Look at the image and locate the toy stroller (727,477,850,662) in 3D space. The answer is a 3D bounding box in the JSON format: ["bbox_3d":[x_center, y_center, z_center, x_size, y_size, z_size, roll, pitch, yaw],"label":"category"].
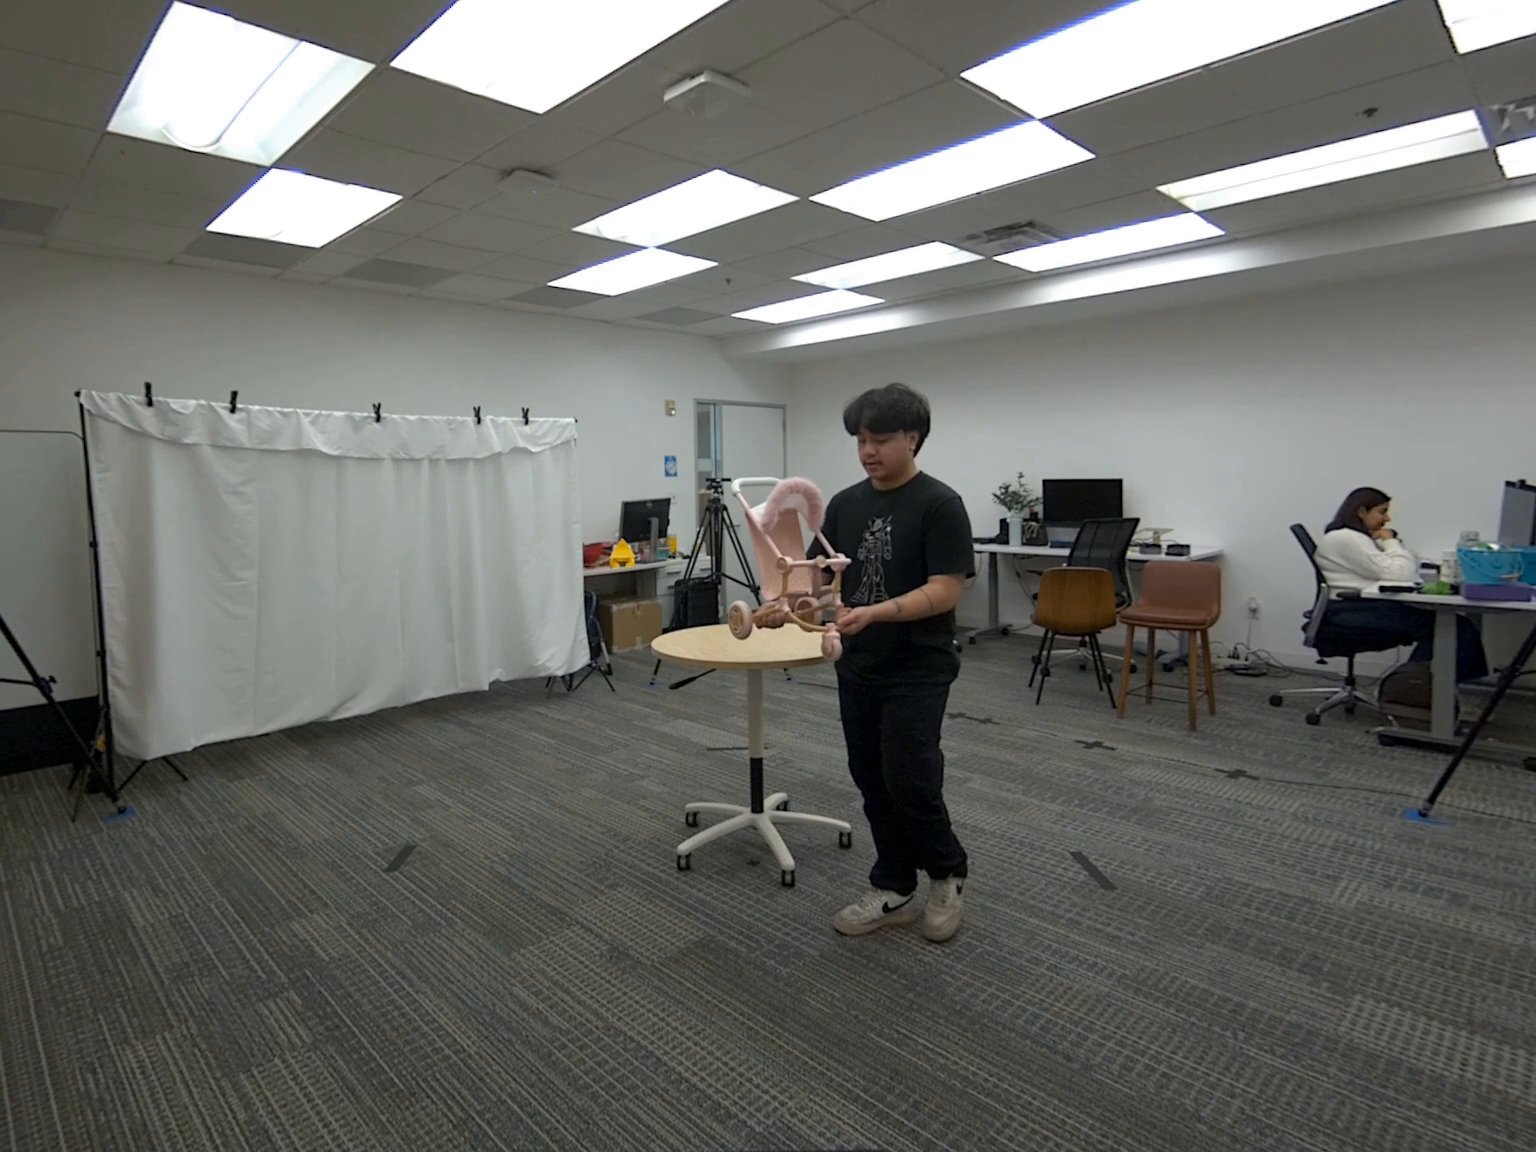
[{"bbox_3d":[0.075,-0.036,2.388,0.275,0.537,0.348,-2,-4,-30],"label":"toy stroller"}]
